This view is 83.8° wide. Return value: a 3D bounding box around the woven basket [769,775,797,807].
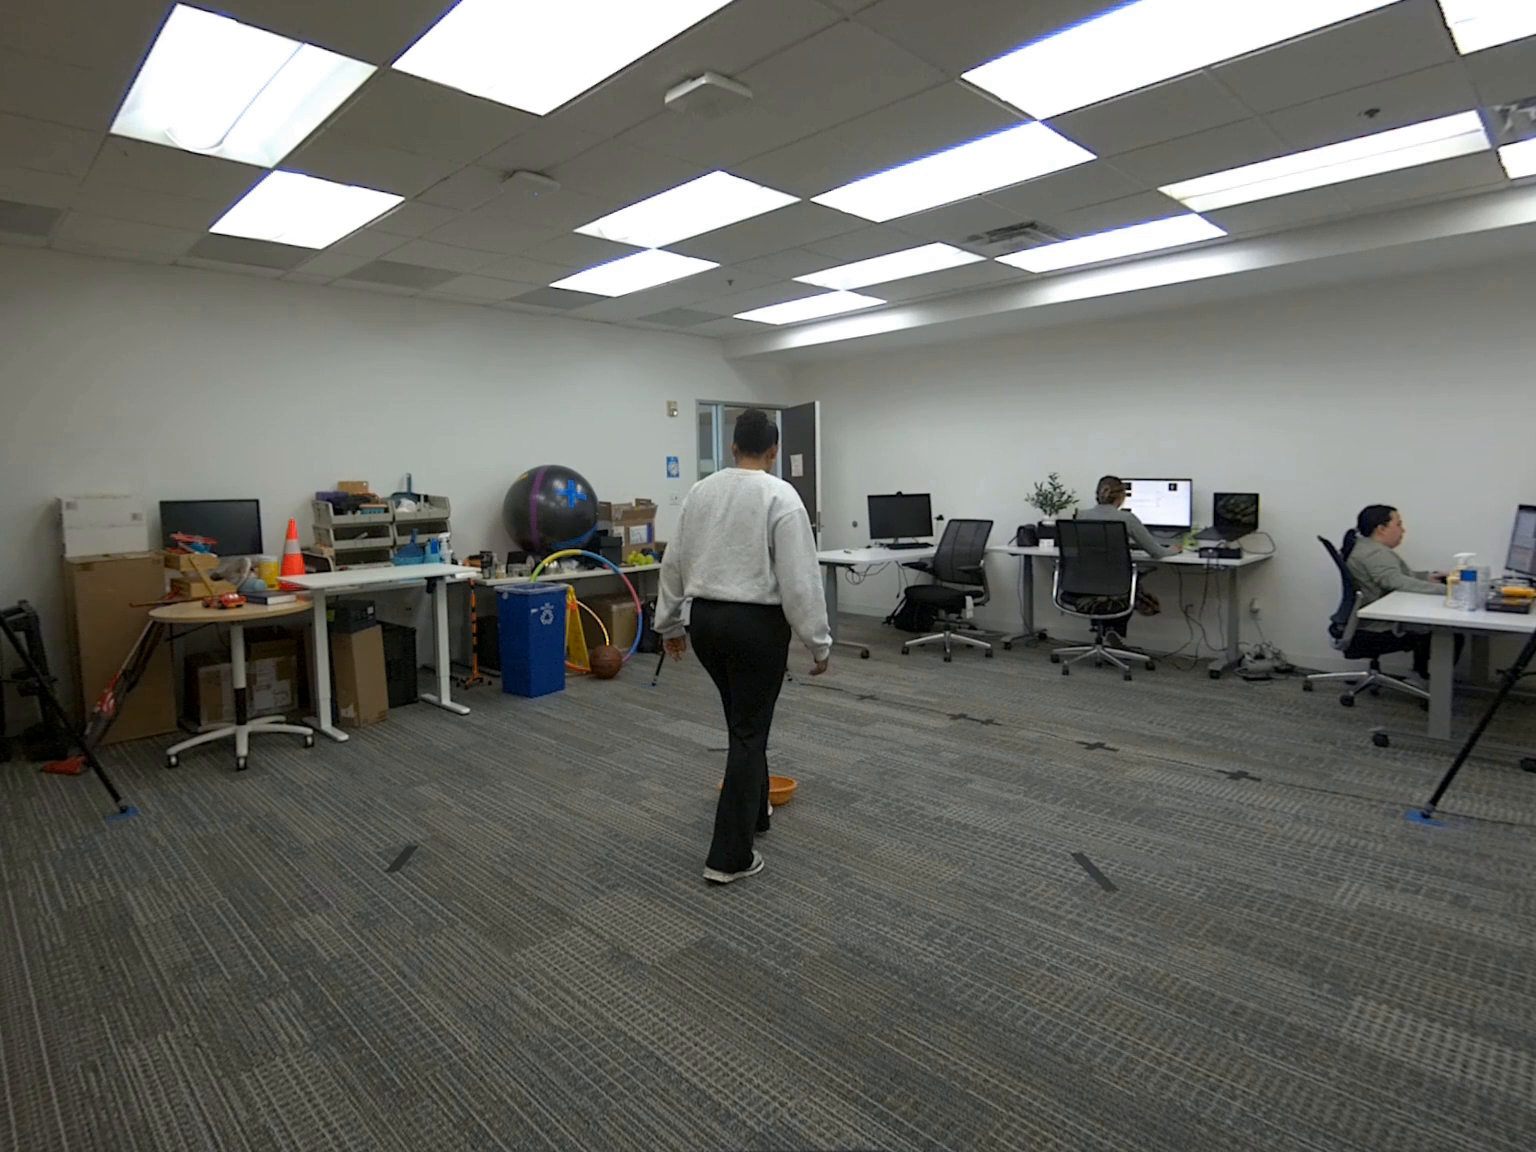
[{"bbox_3d":[-0.048,0.934,3.725,0.352,0.073,0.251,-1,2,5],"label":"woven basket"}]
